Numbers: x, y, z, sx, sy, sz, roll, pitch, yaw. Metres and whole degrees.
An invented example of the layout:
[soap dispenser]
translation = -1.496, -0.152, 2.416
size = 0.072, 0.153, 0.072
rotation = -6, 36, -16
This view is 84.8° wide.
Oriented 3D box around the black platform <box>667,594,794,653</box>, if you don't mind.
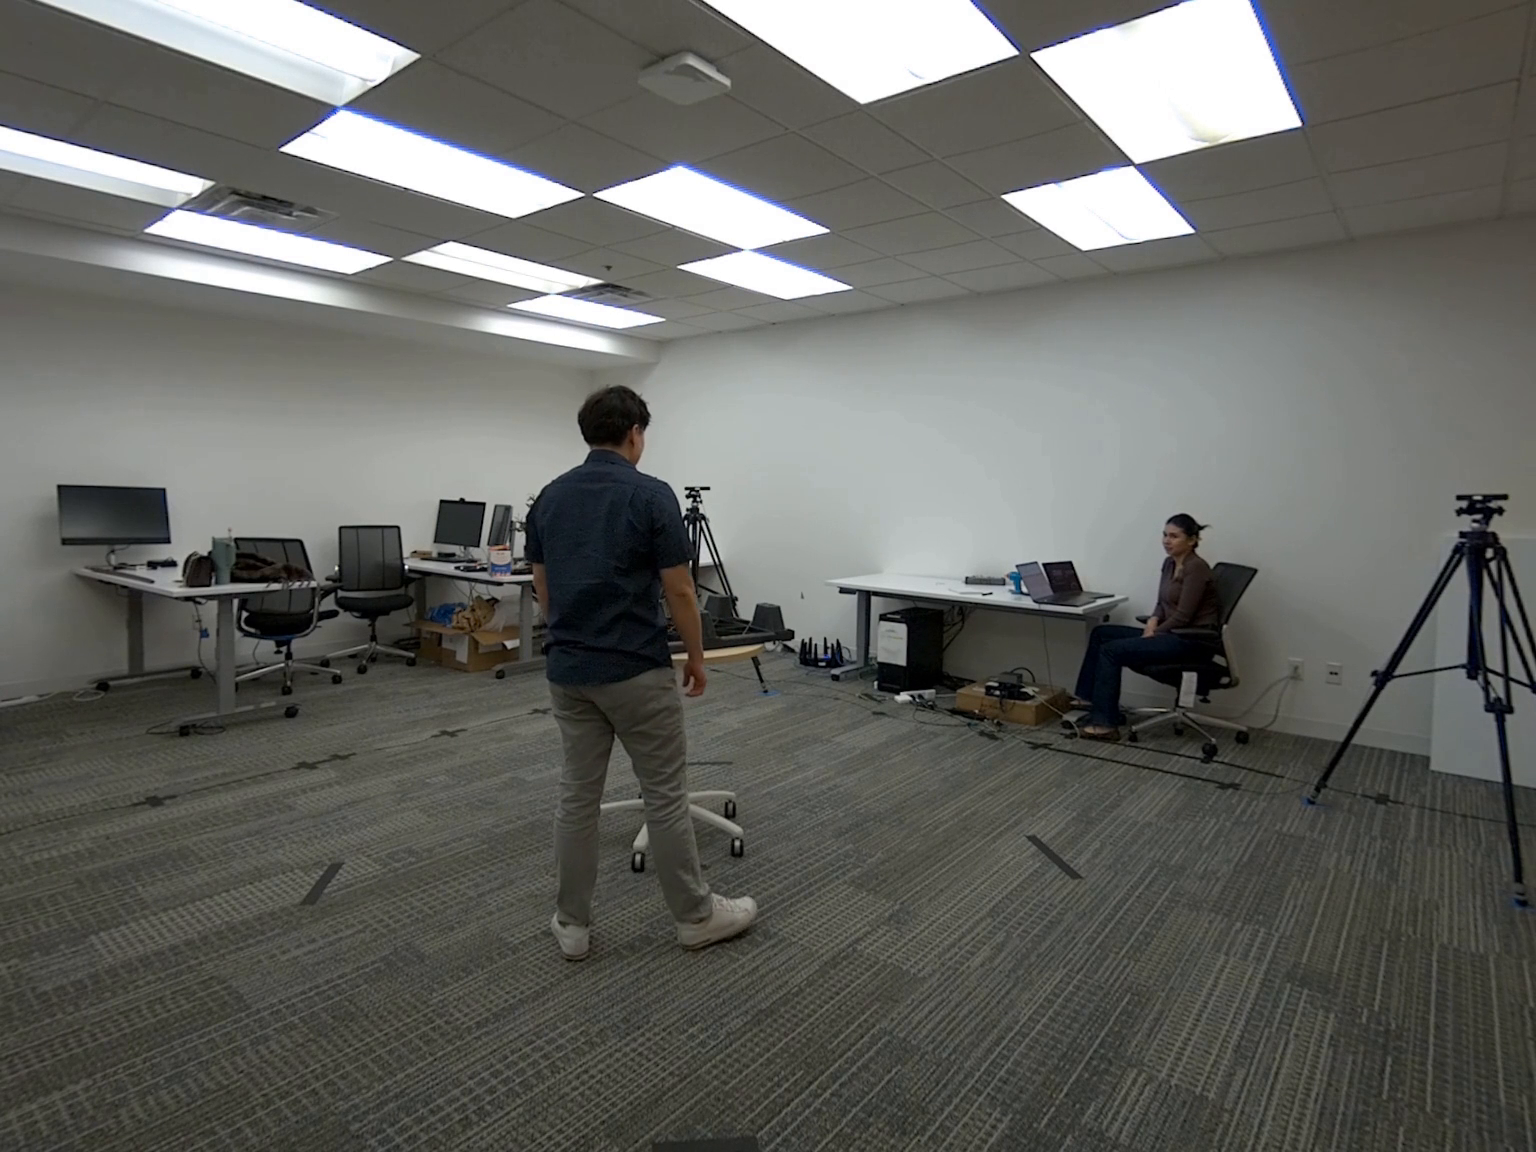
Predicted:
[black platform]
translation = -0.390, 0.183, 3.438
size = 0.783, 0.142, 0.625
rotation = -4, 8, -35
